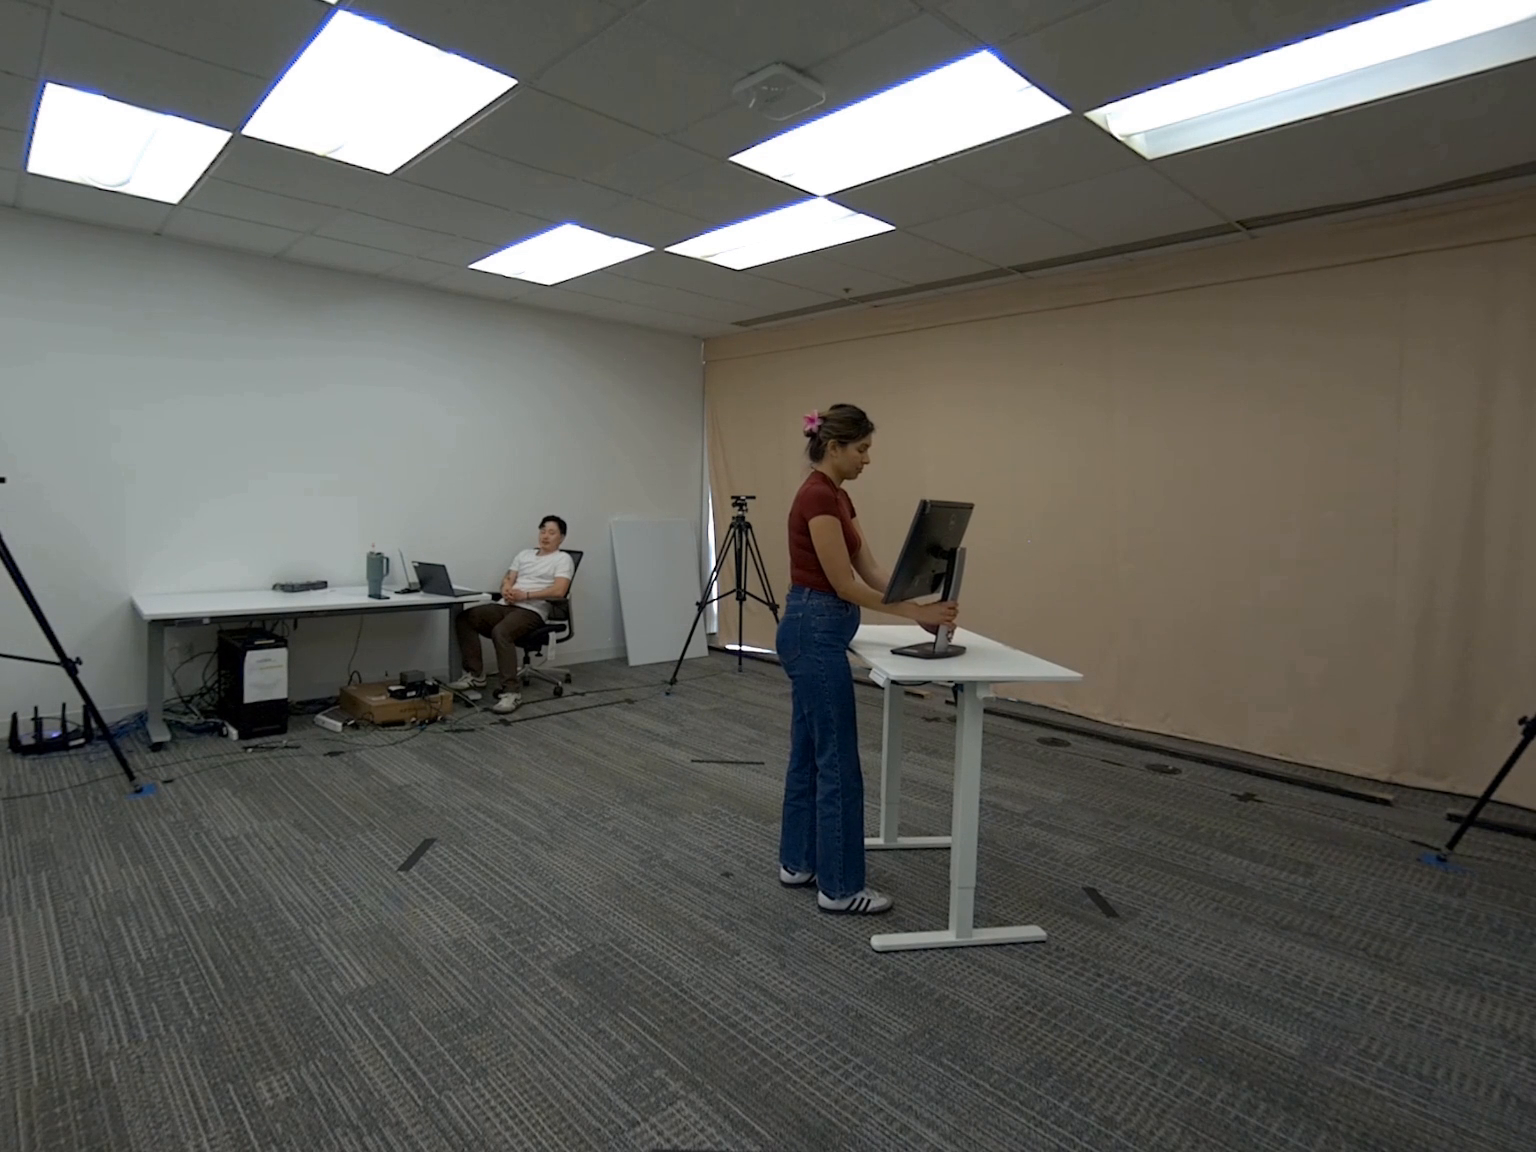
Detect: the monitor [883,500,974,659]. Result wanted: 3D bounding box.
[{"bbox_3d":[0.570,0.008,2.820,0.191,0.521,0.529,7,6,28],"label":"monitor"}]
